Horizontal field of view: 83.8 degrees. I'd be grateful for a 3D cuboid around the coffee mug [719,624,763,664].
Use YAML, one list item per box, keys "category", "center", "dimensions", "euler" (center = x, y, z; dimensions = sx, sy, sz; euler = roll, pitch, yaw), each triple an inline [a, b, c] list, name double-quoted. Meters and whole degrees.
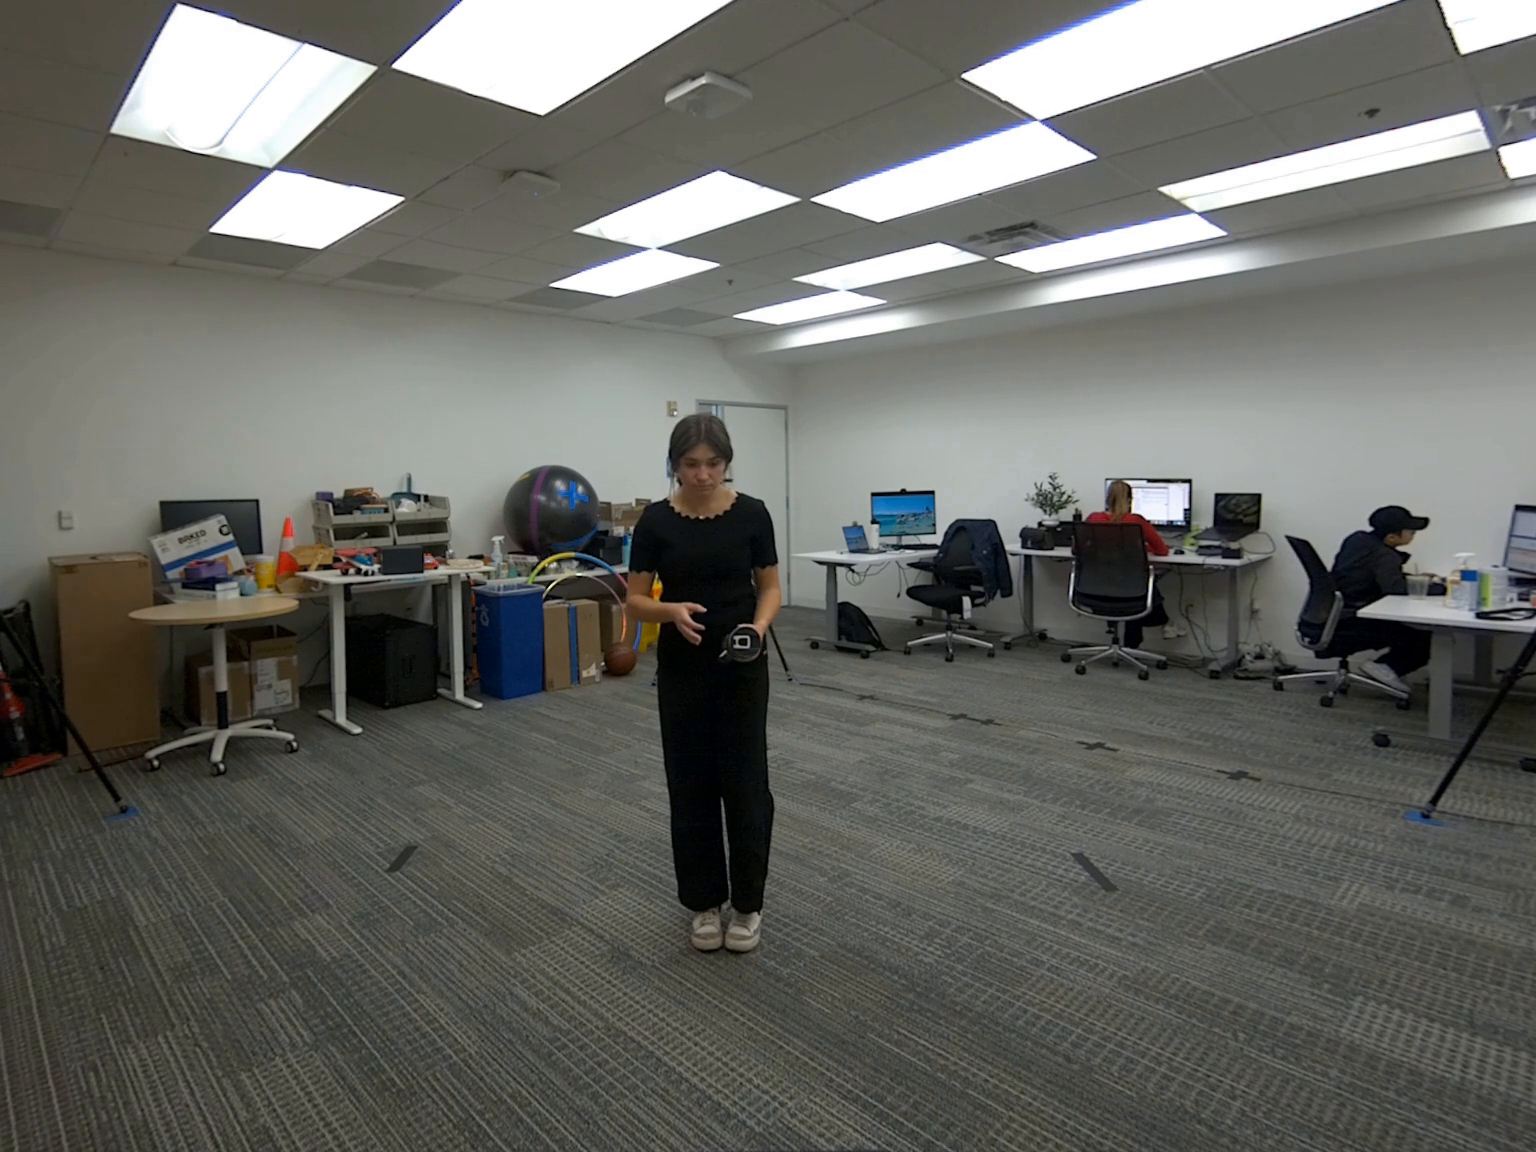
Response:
- category: "coffee mug"
  center: [-0.099, 0.196, 2.405]
  dimensions: [0.121, 0.088, 0.204]
  euler: [-22, -1, -16]
